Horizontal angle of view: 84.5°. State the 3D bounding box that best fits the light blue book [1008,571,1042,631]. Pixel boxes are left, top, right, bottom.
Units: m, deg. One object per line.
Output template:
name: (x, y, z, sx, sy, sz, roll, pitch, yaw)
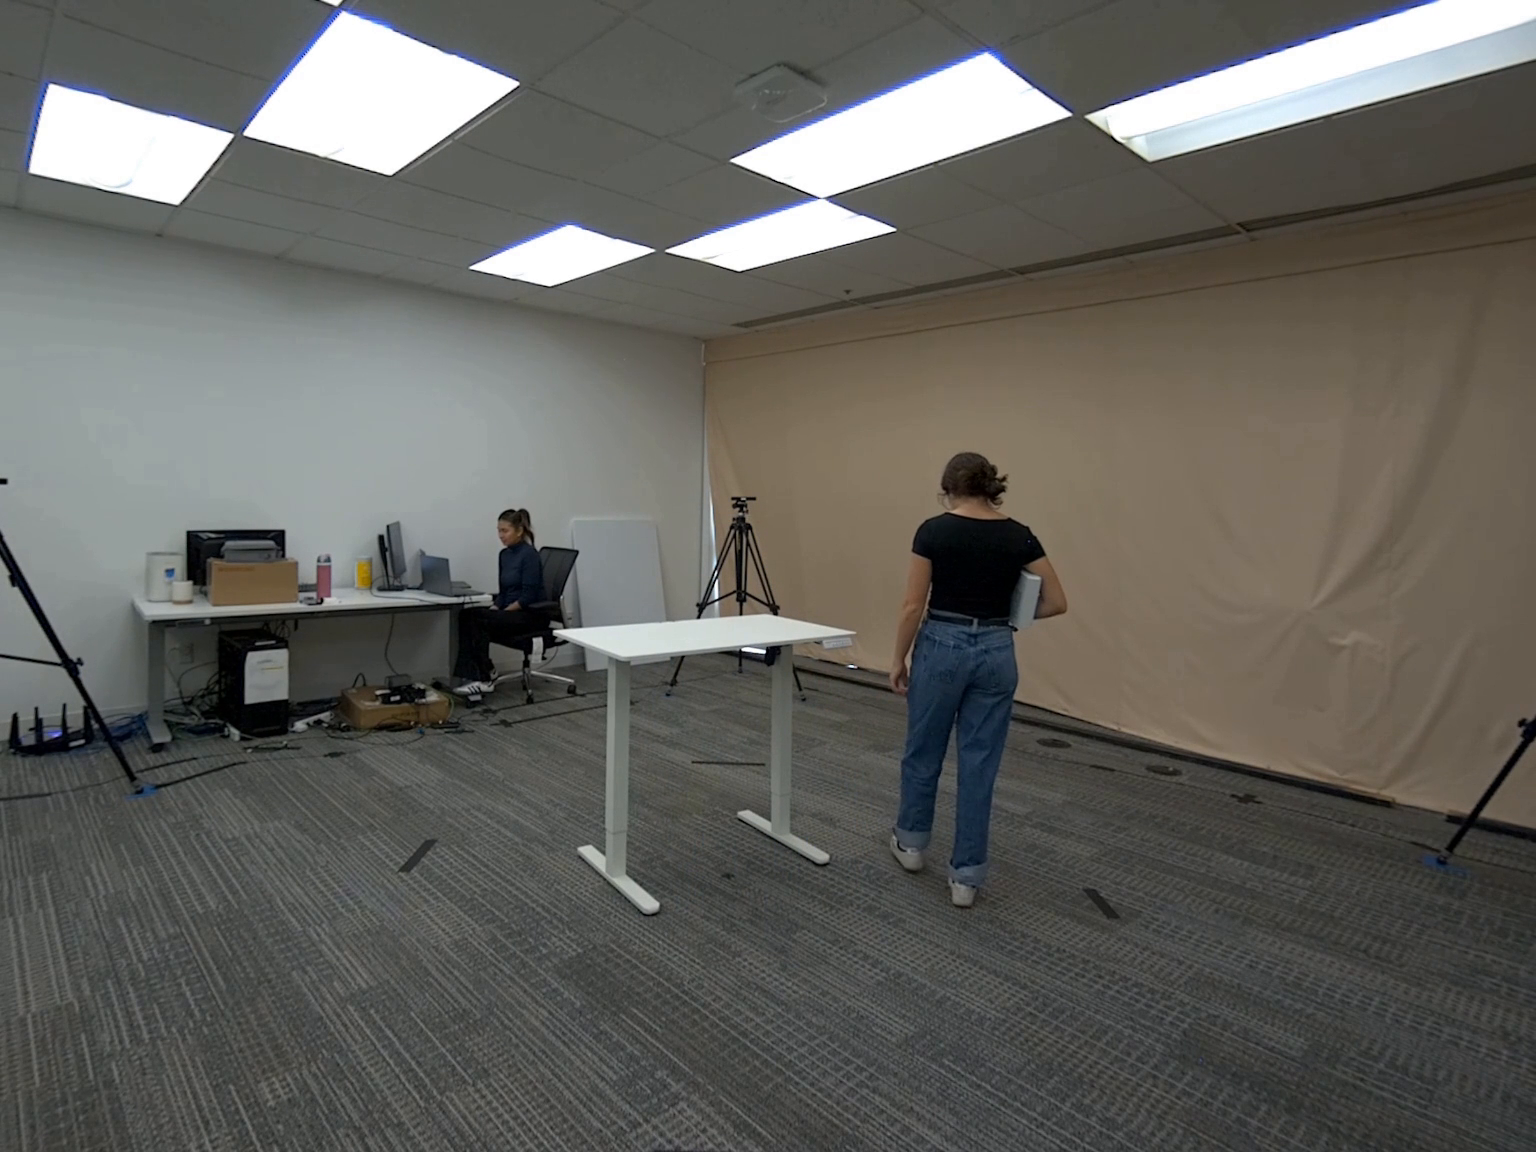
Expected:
light blue book: (0.872, 0.043, 3.018, 0.058, 0.189, 0.266, 2, 17, -12)
